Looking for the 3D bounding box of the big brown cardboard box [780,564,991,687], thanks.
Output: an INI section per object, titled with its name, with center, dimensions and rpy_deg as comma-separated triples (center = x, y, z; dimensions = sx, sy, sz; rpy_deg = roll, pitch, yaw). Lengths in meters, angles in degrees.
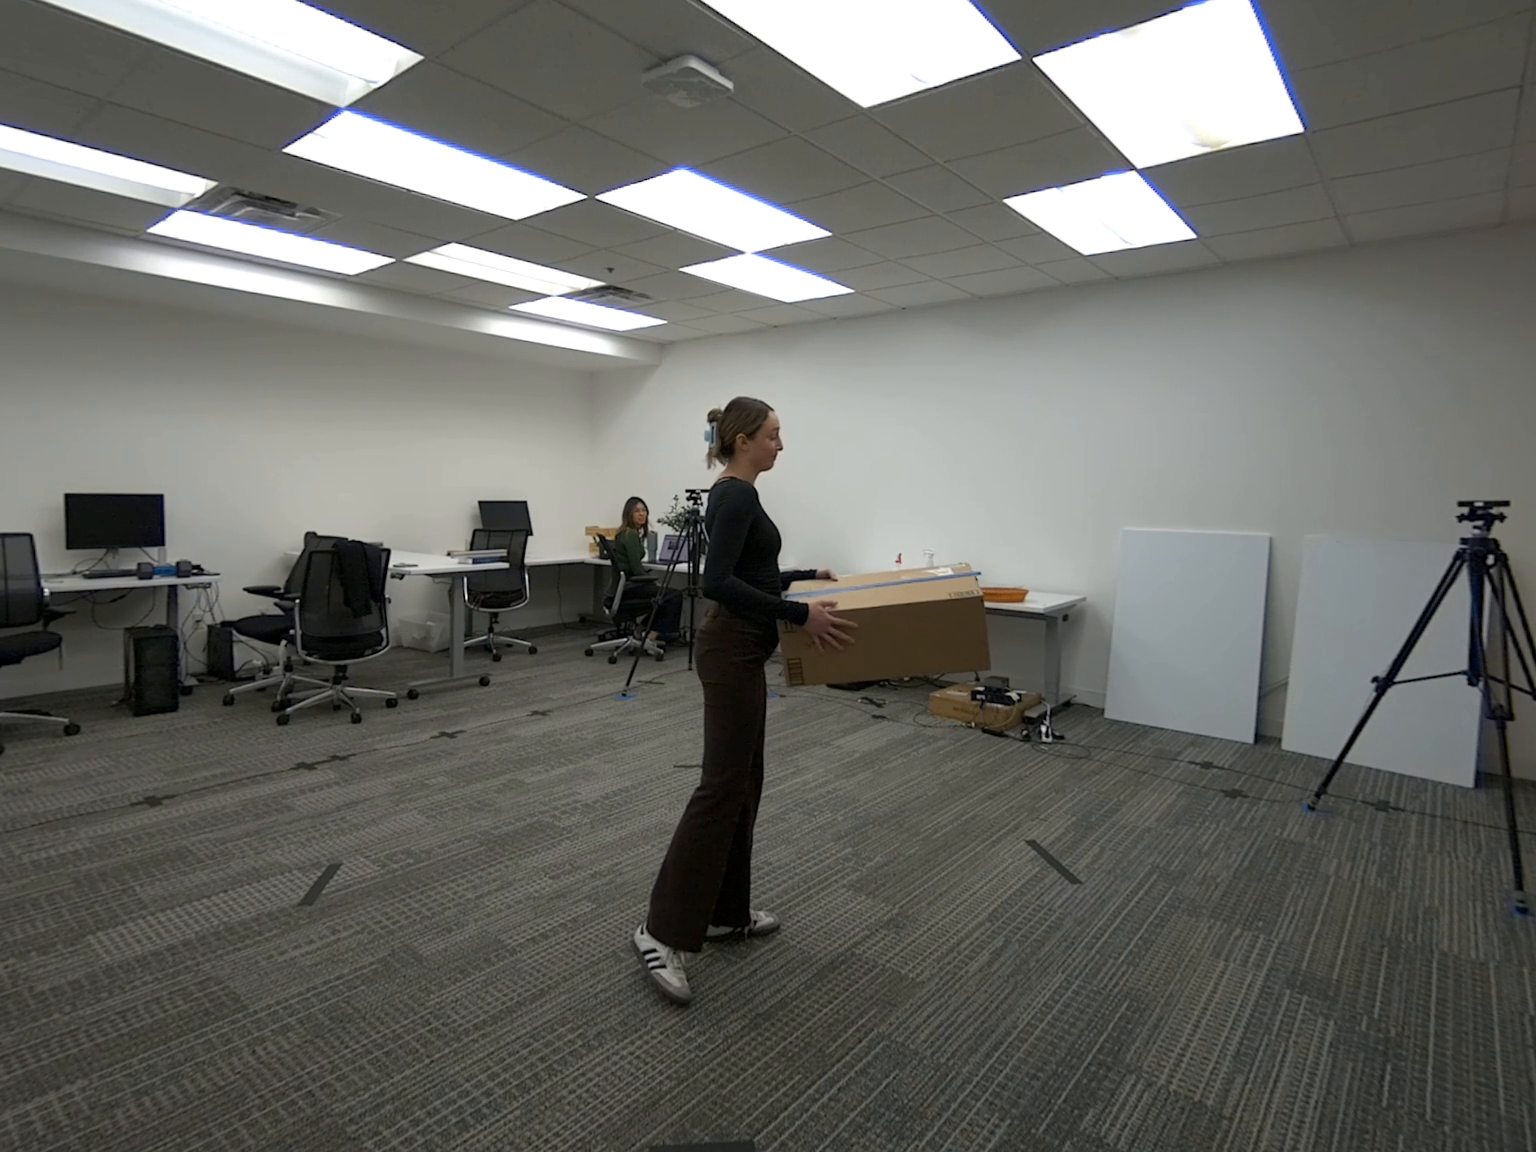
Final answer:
[big brown cardboard box]
center = 0.331, 0.133, 2.534
dimensions = 0.595, 0.230, 0.418
rpy_deg = -7, 12, 10
